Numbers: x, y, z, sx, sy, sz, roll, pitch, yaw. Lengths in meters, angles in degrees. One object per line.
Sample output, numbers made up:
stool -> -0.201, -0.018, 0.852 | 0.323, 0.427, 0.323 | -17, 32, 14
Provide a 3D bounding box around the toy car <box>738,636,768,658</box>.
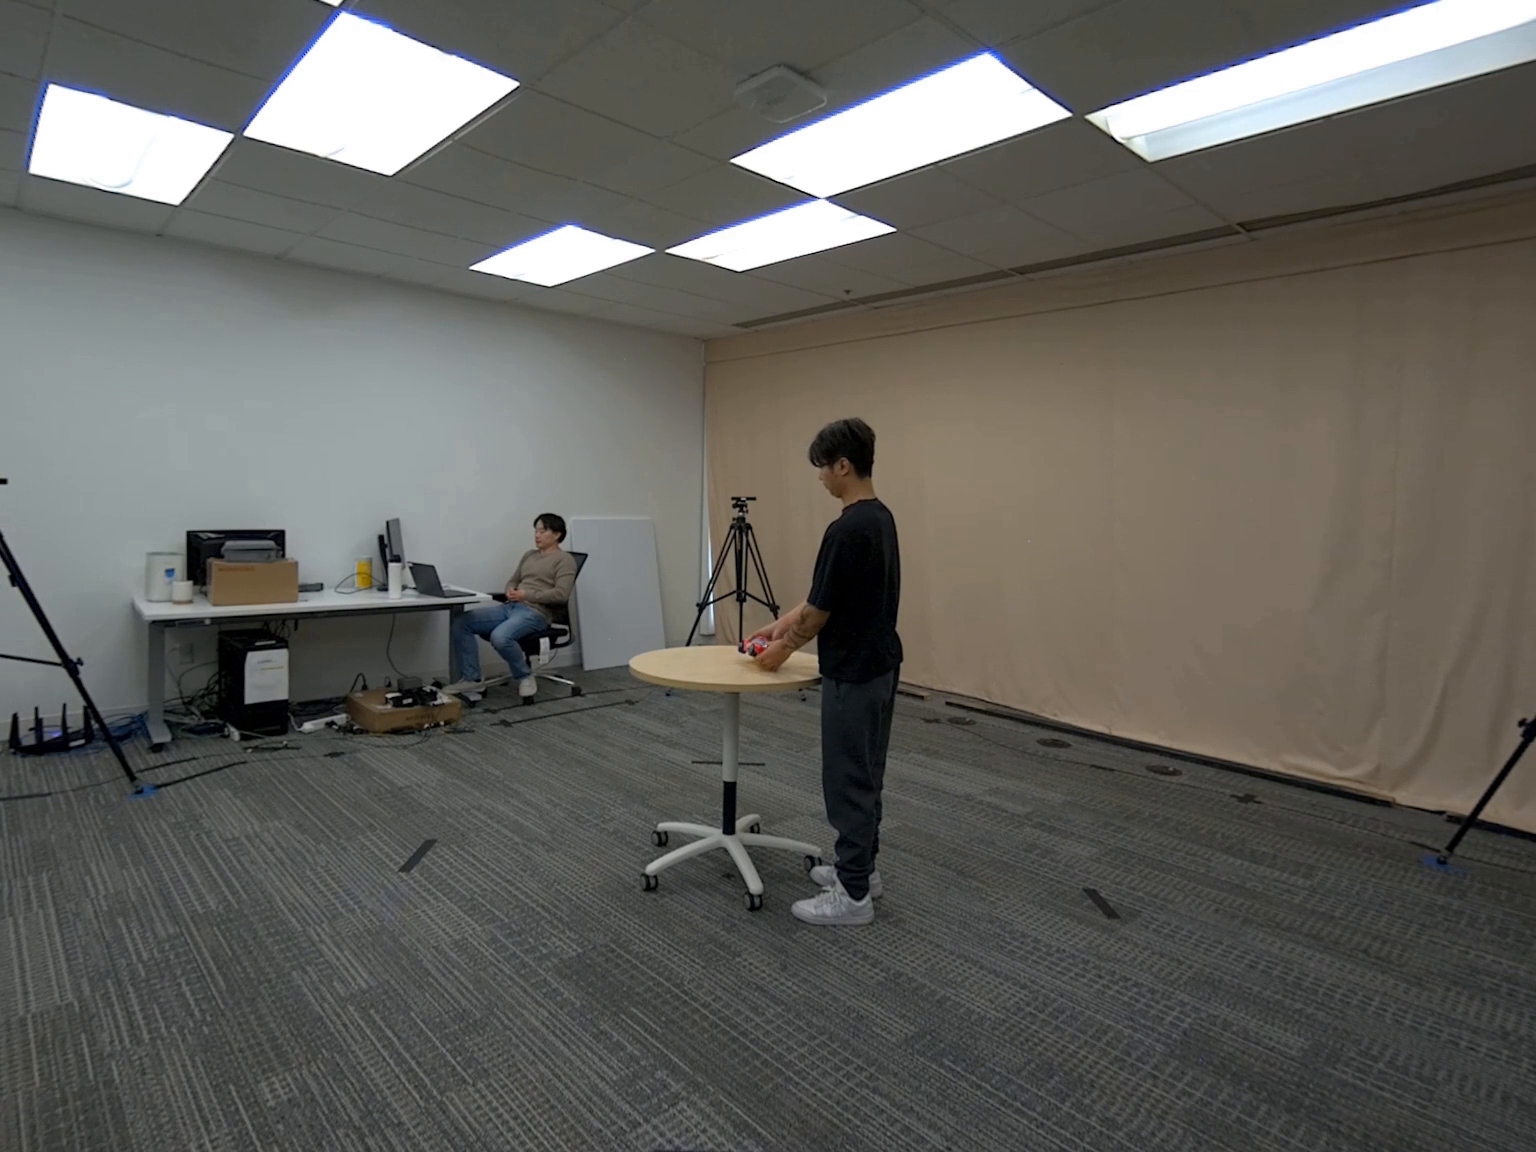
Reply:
toy car -> -0.038, 0.274, 3.089 | 0.129, 0.083, 0.258 | 21, 6, -13
